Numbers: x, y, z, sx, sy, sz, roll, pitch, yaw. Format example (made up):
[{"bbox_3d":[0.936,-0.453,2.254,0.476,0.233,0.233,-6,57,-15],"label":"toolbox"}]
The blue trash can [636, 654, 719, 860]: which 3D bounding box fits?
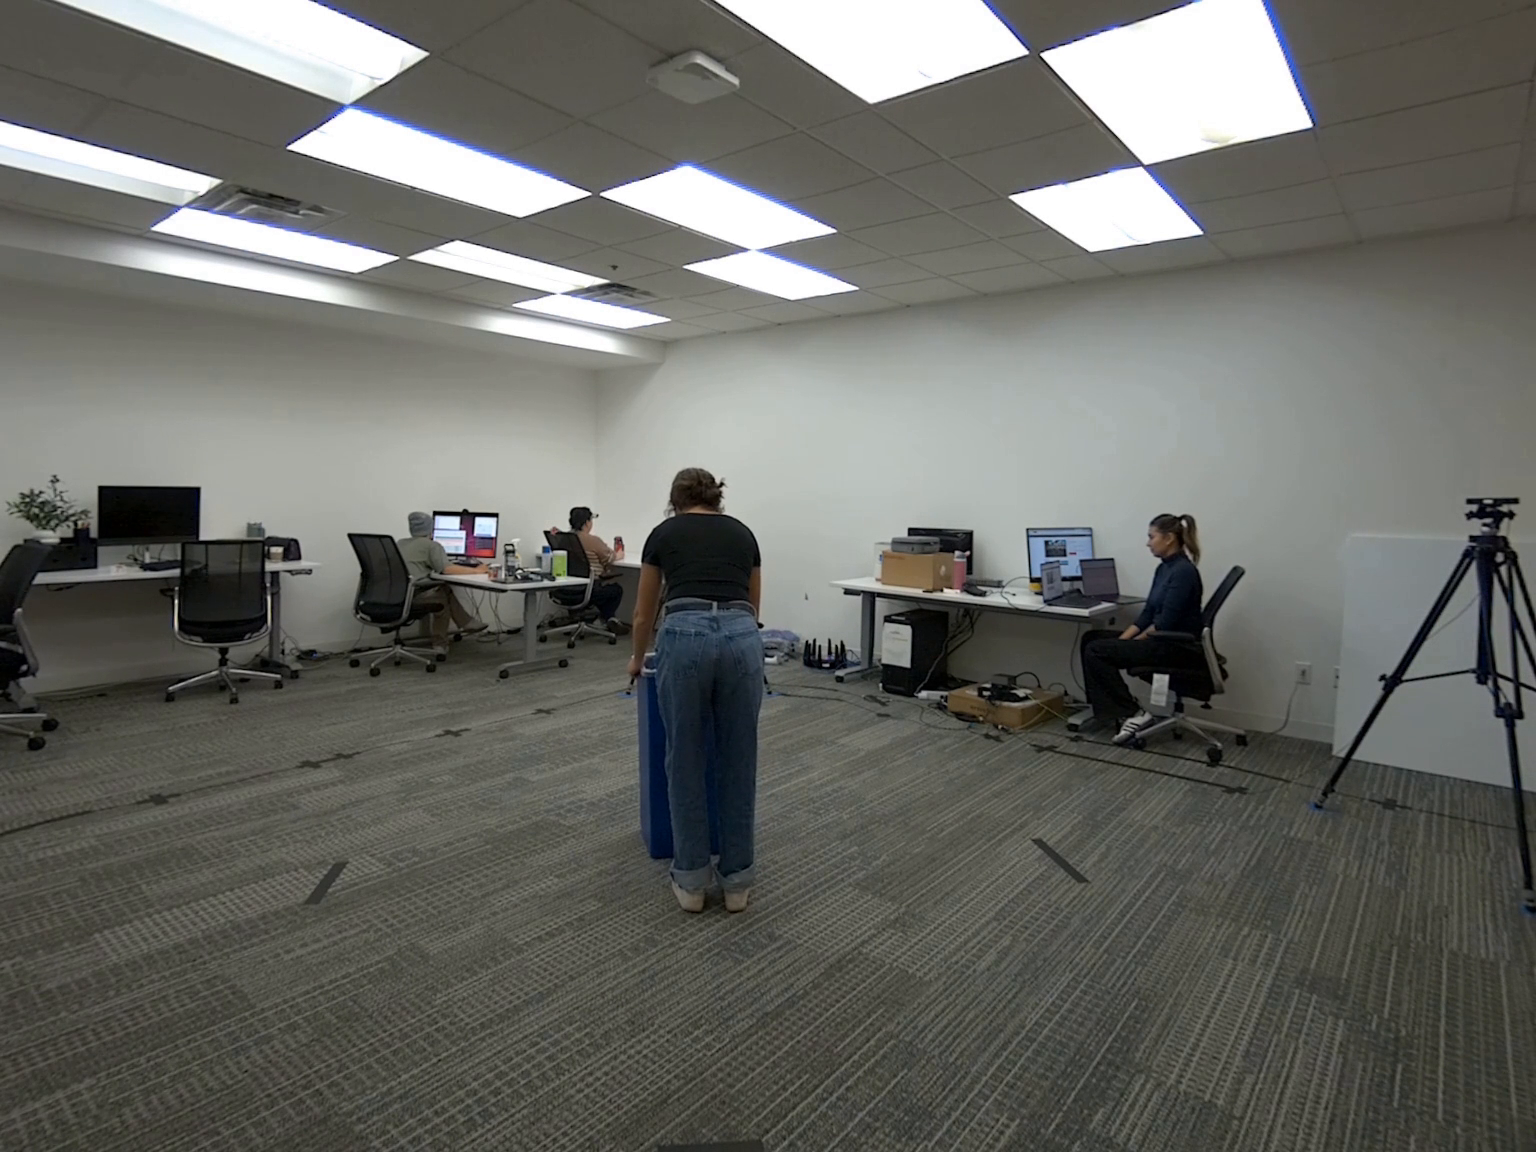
[{"bbox_3d":[-0.340,0.685,3.333,0.368,0.713,0.385,1,2,-16],"label":"blue trash can"}]
